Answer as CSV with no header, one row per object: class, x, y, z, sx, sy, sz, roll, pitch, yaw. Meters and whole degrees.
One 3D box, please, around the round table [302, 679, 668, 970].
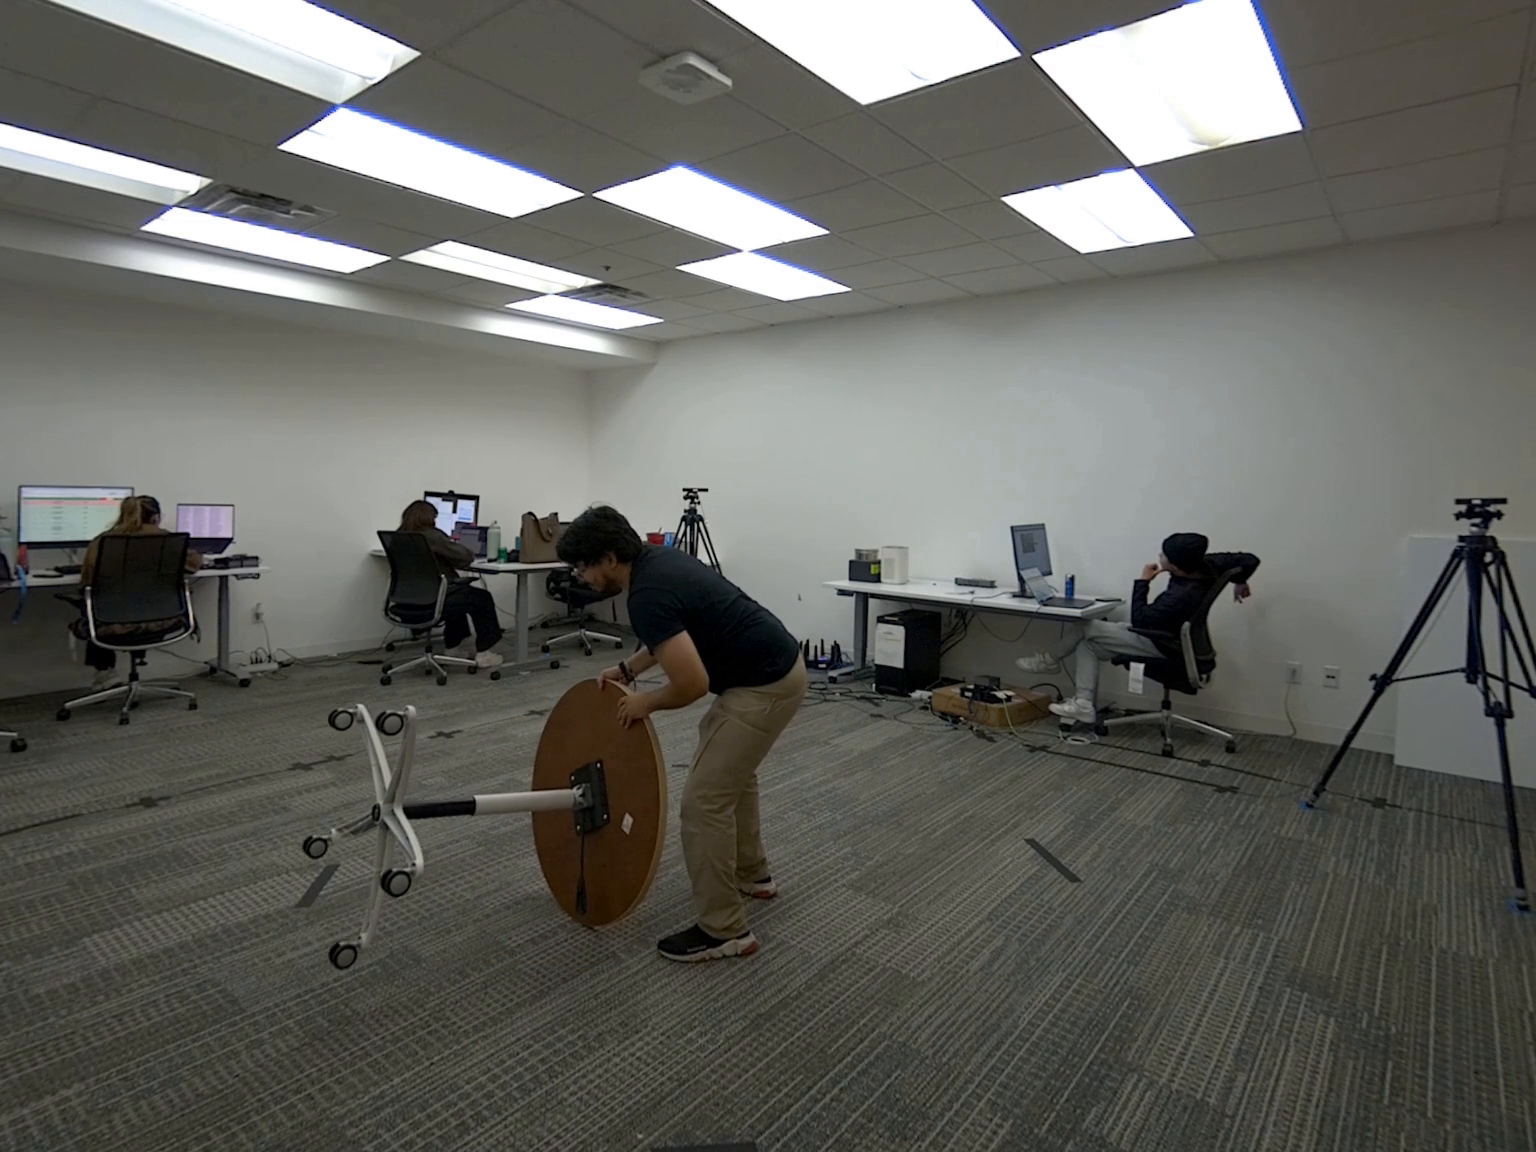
round table,-0.857,0.676,2.526,0.759,0.787,0.812,9,-3,-41
